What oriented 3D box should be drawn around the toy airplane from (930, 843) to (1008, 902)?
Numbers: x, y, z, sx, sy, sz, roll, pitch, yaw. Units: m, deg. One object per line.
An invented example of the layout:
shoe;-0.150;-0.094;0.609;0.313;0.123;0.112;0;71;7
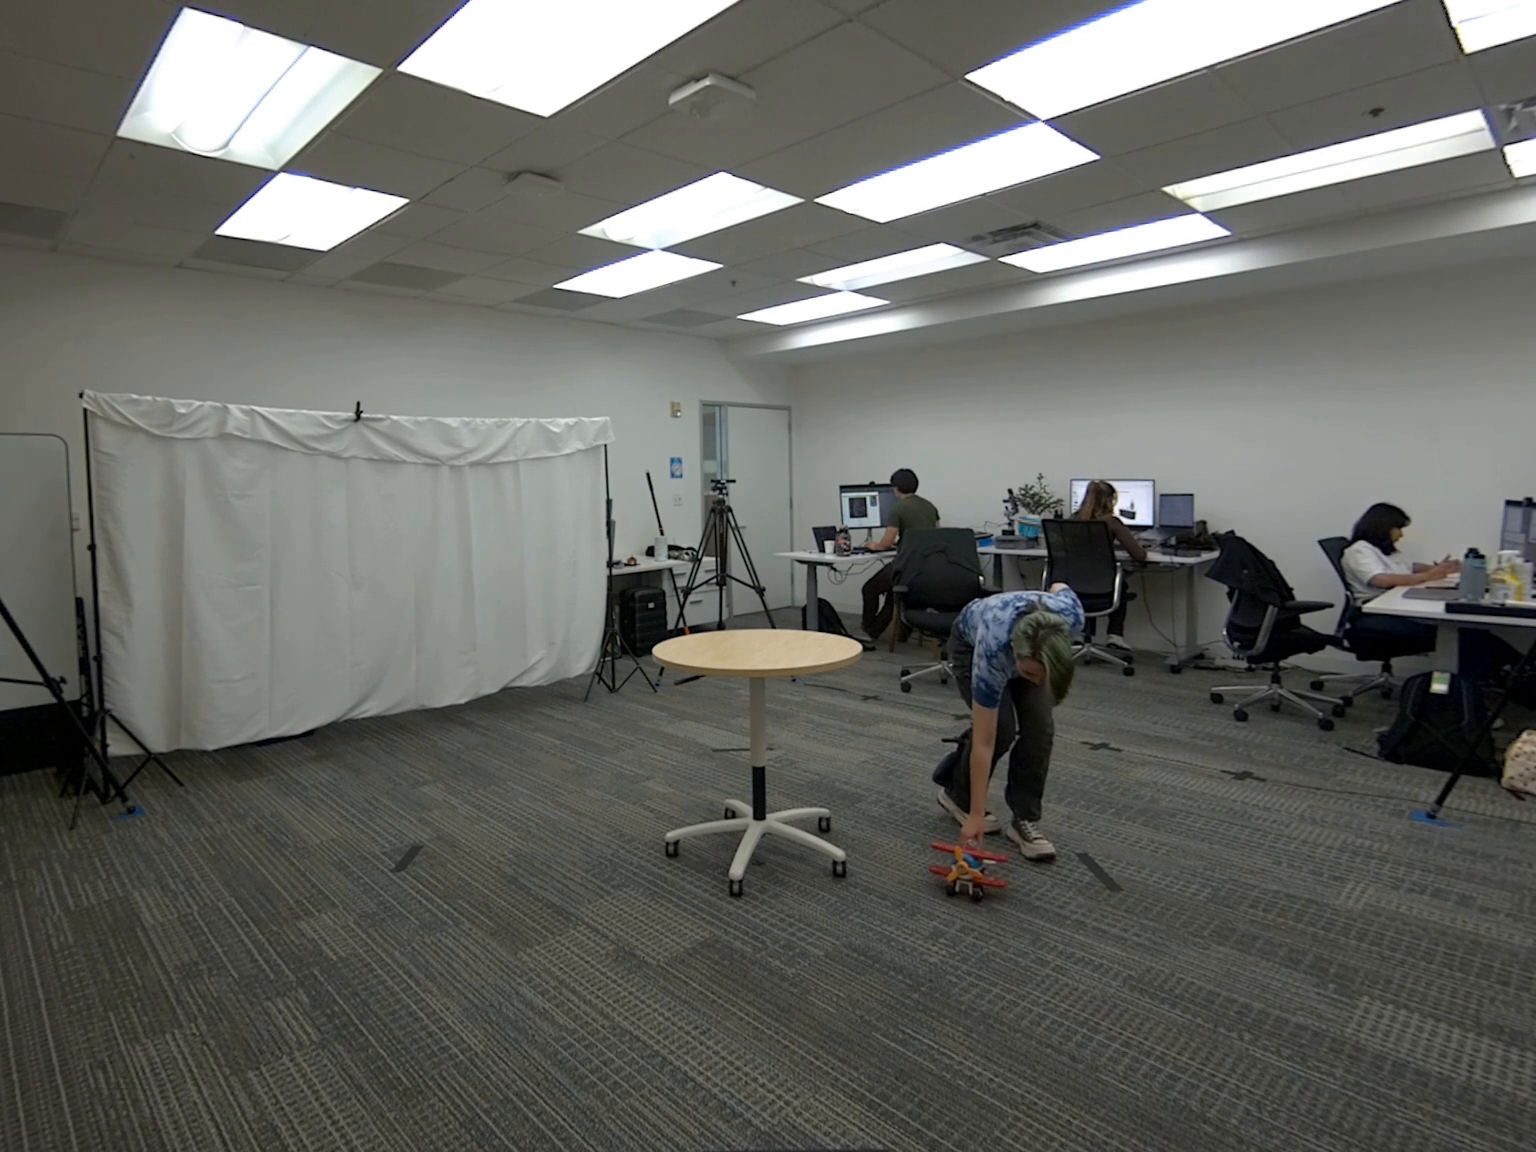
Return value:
toy airplane;0.673;0.984;2.899;0.251;0.155;0.261;0;7;-3
